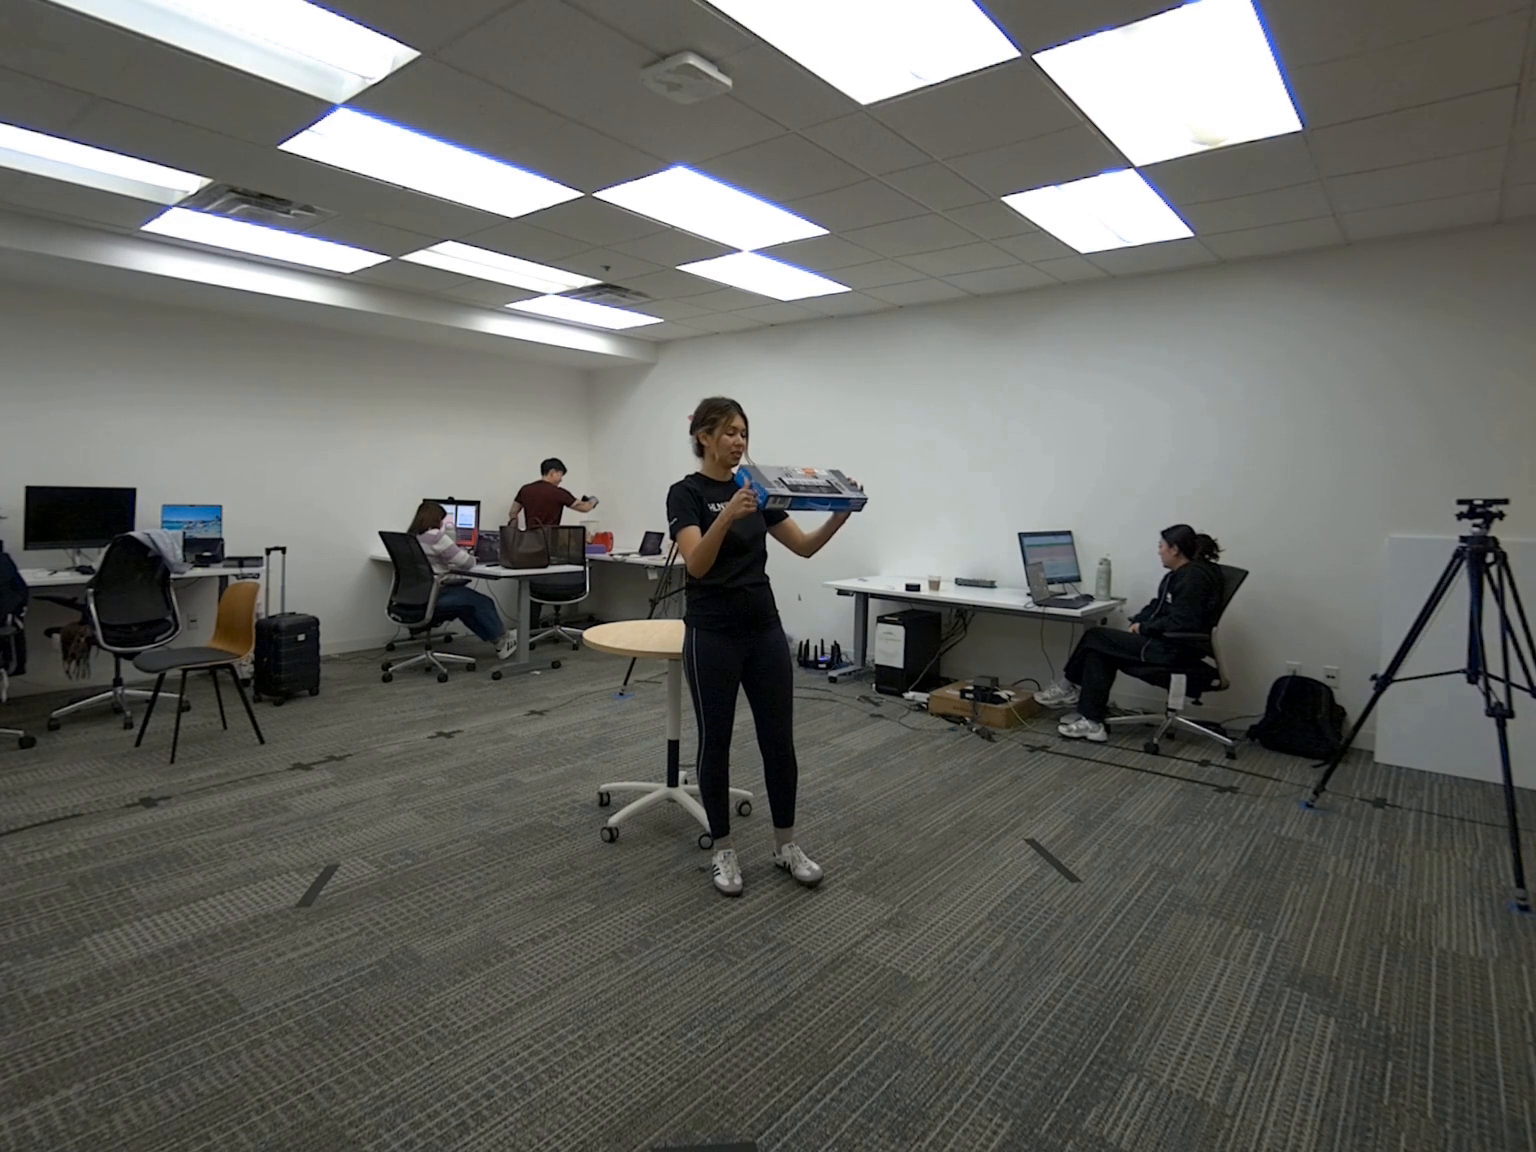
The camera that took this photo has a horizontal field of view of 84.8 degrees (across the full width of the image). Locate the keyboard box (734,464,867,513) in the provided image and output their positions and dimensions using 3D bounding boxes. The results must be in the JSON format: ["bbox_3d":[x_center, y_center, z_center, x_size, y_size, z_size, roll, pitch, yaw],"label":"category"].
[{"bbox_3d":[0.093,-0.284,2.750,0.424,0.058,0.183,-2,37,-34],"label":"keyboard box"}]
